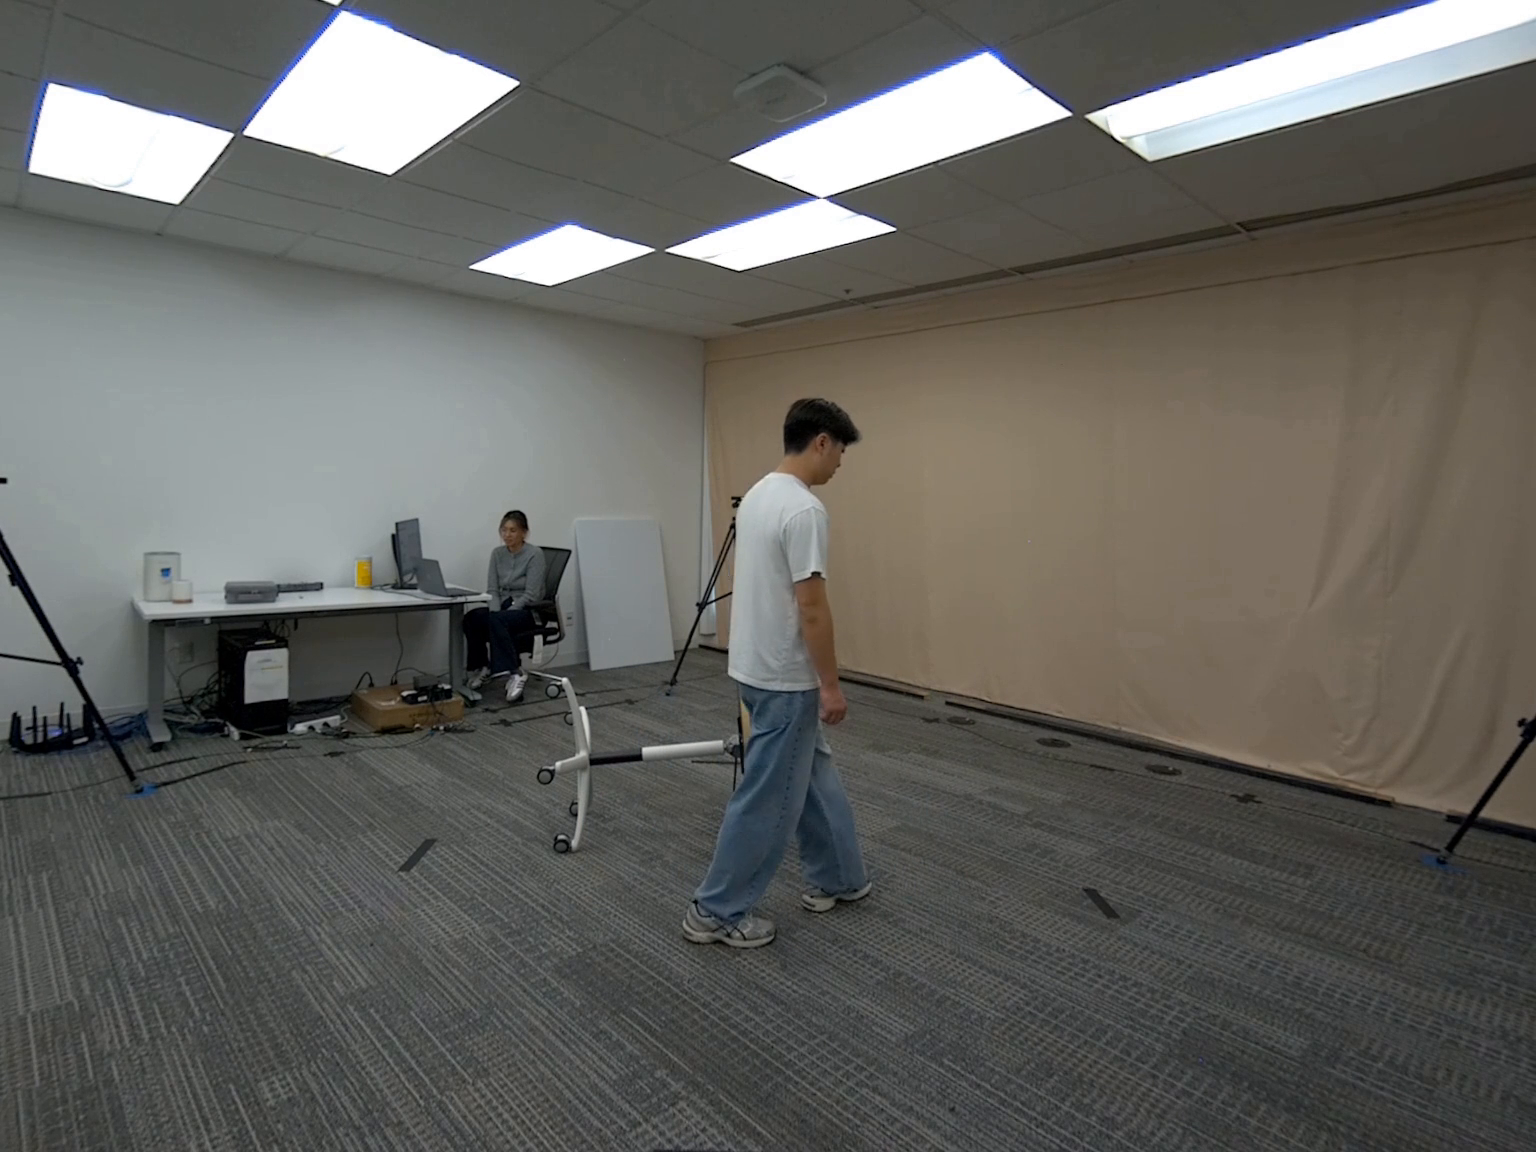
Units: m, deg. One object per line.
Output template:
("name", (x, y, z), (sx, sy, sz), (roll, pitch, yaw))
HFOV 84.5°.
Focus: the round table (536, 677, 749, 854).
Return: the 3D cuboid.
("round table", (-0.479, 0.724, 3.441), (0.784, 0.782, 0.790), (-4, 5, -4))
